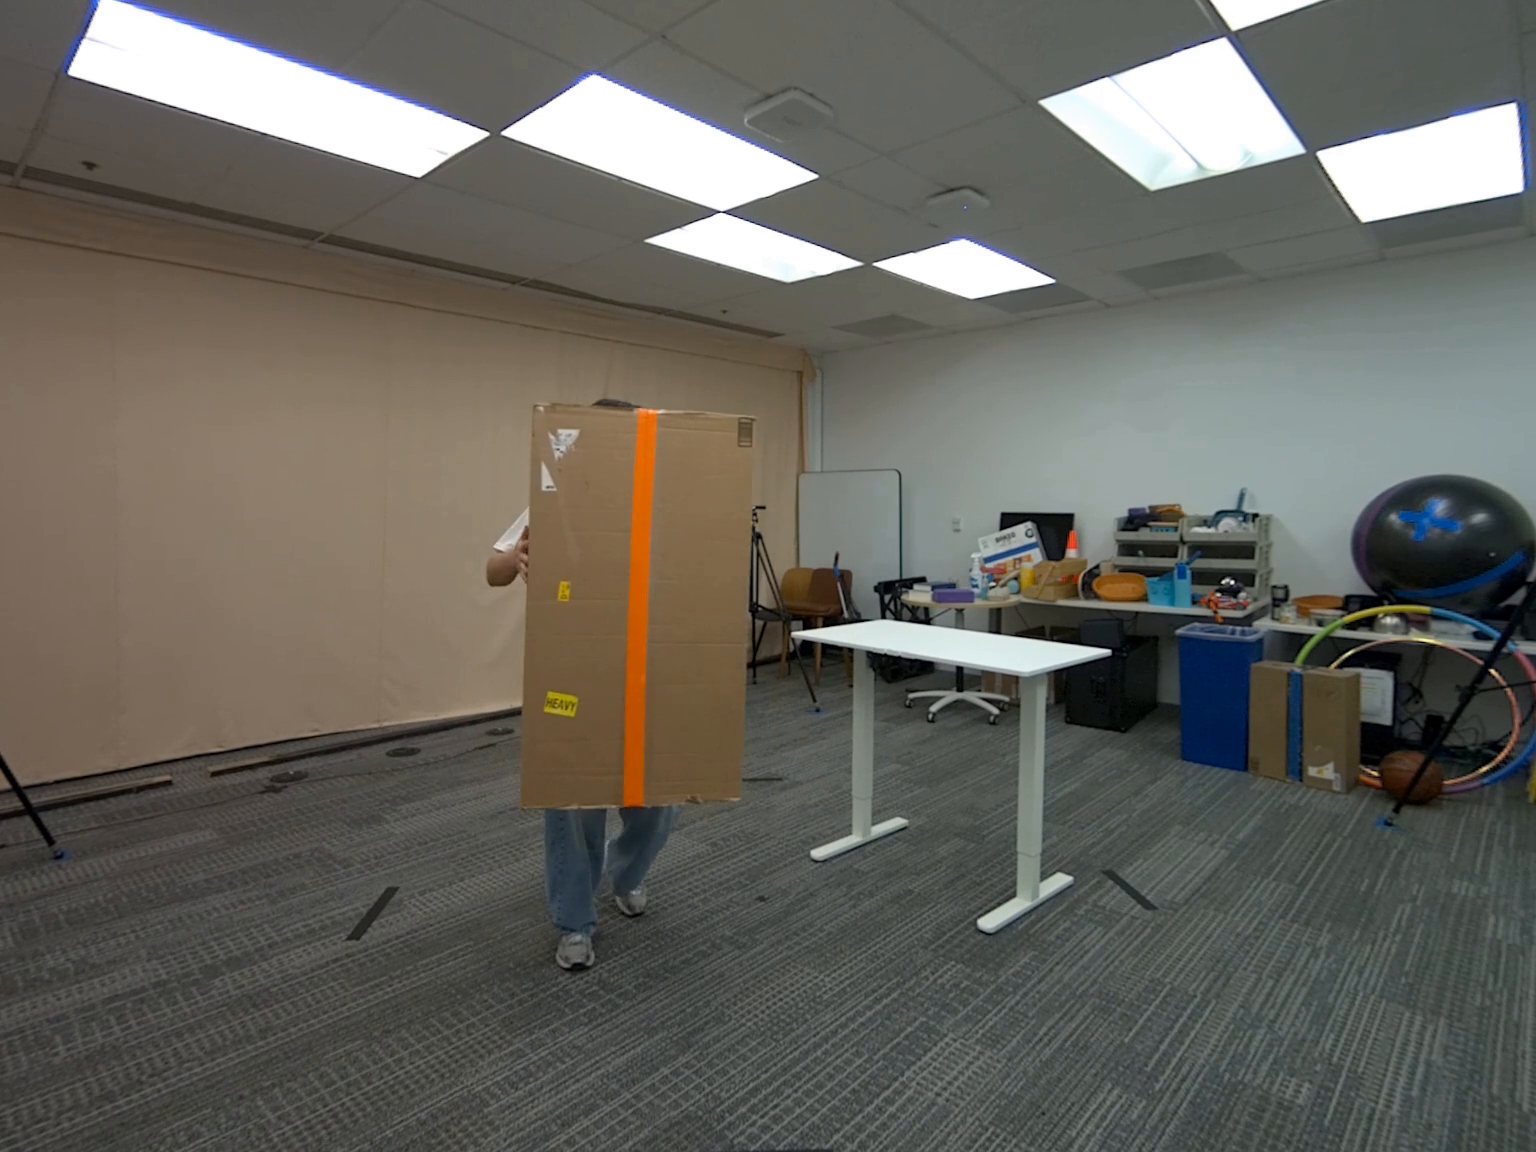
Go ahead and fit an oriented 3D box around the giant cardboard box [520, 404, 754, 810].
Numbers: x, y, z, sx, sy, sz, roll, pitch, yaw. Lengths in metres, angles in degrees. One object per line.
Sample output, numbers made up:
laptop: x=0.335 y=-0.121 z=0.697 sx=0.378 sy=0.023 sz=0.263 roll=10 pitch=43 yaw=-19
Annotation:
giant cardboard box: x=-0.378 y=0.071 z=2.362 sx=0.569 sy=1.025 sz=0.433 roll=3 pitch=1 yaw=-14
